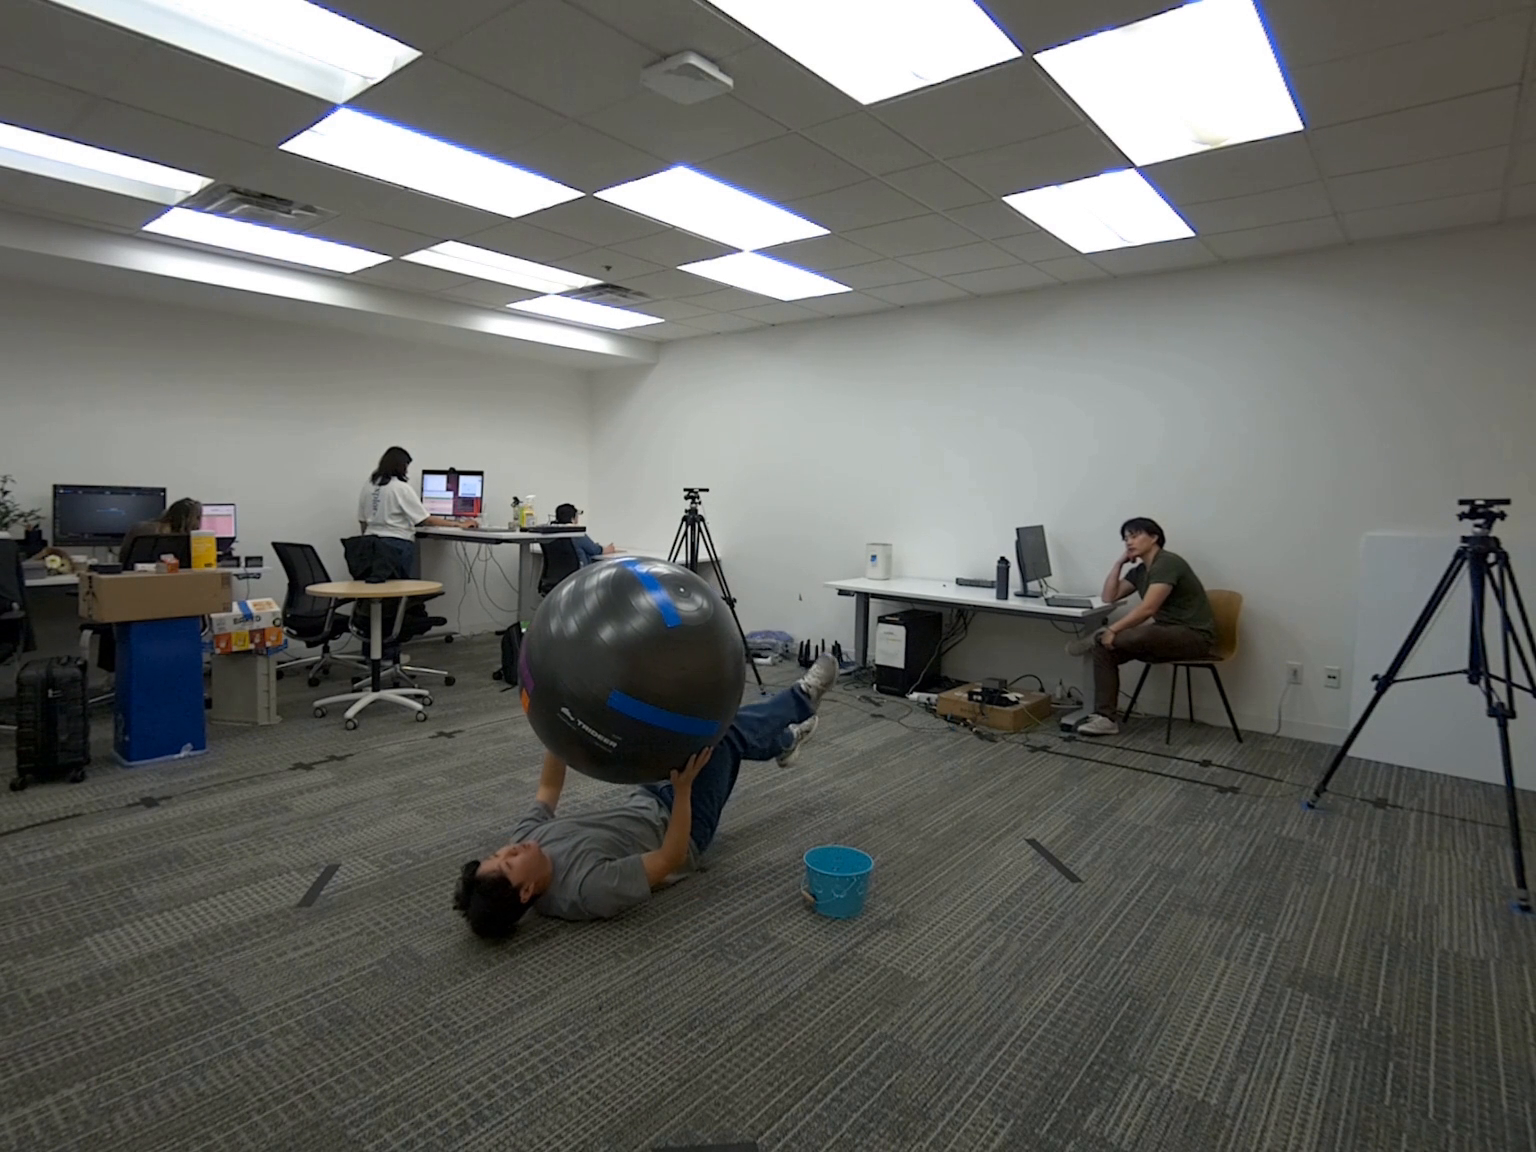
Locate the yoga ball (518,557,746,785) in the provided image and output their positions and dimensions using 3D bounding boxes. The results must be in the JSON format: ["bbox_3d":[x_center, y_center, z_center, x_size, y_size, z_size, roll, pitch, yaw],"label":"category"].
[{"bbox_3d":[-0.466,0.317,2.862,0.757,0.756,0.762,1,4,-2],"label":"yoga ball"}]
